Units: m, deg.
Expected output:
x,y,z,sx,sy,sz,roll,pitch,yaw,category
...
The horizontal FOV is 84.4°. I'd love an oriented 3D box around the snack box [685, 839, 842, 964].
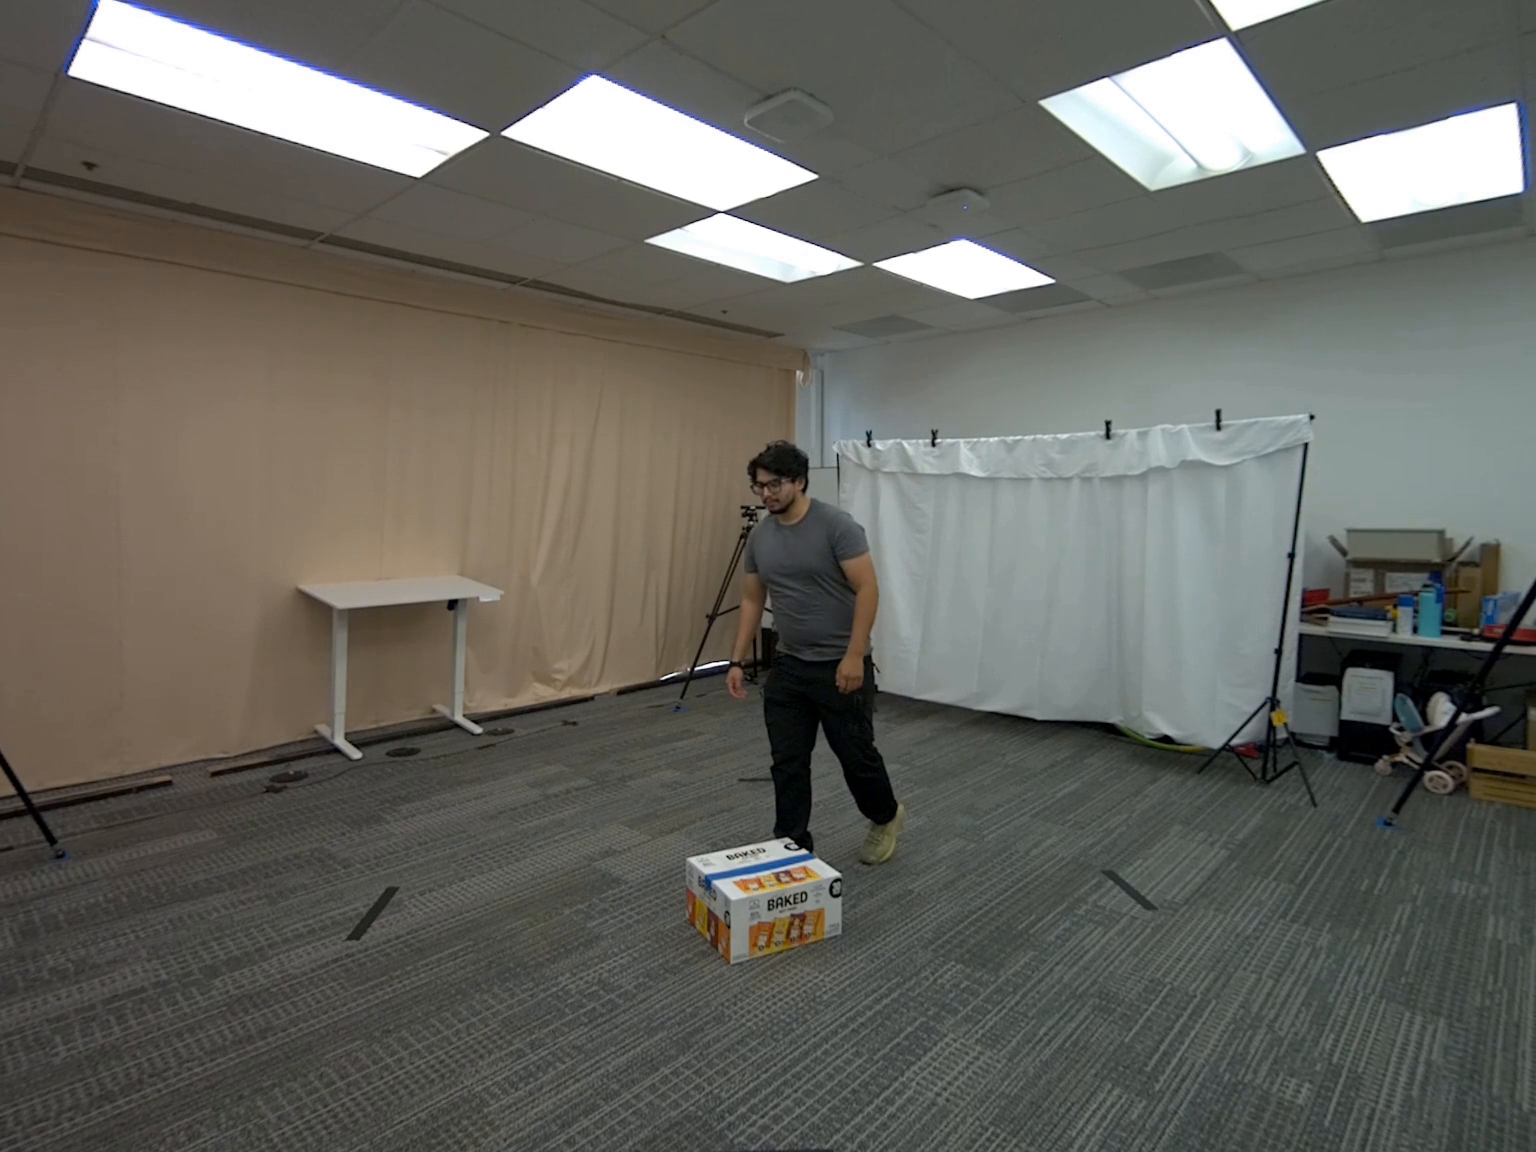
x,y,z,sx,sy,sz,roll,pitch,yaw,category
-0.018,1.062,2.775,0.395,0.205,0.350,-2,5,-28,snack box
